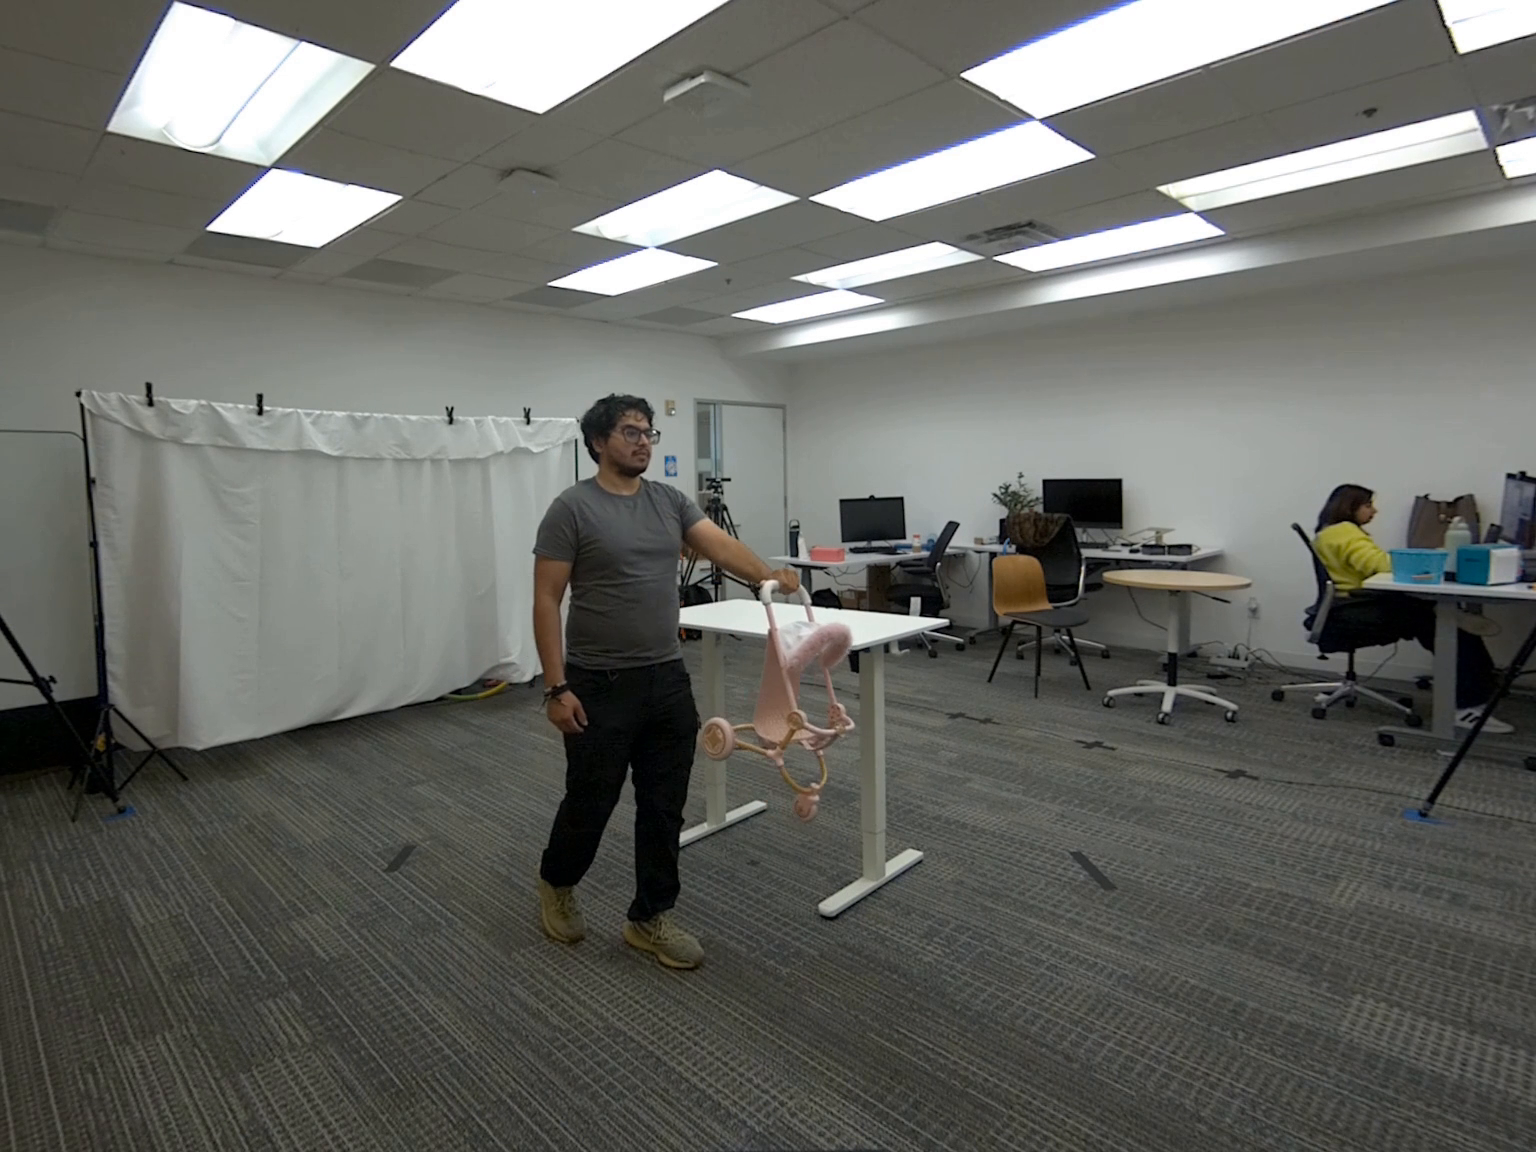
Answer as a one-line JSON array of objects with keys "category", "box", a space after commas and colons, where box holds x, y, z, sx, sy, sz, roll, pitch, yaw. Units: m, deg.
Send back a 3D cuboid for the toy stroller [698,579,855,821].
[{"category": "toy stroller", "box": [0.067, 0.313, 2.222, 0.354, 0.532, 0.272, 26, 12, 41]}]
